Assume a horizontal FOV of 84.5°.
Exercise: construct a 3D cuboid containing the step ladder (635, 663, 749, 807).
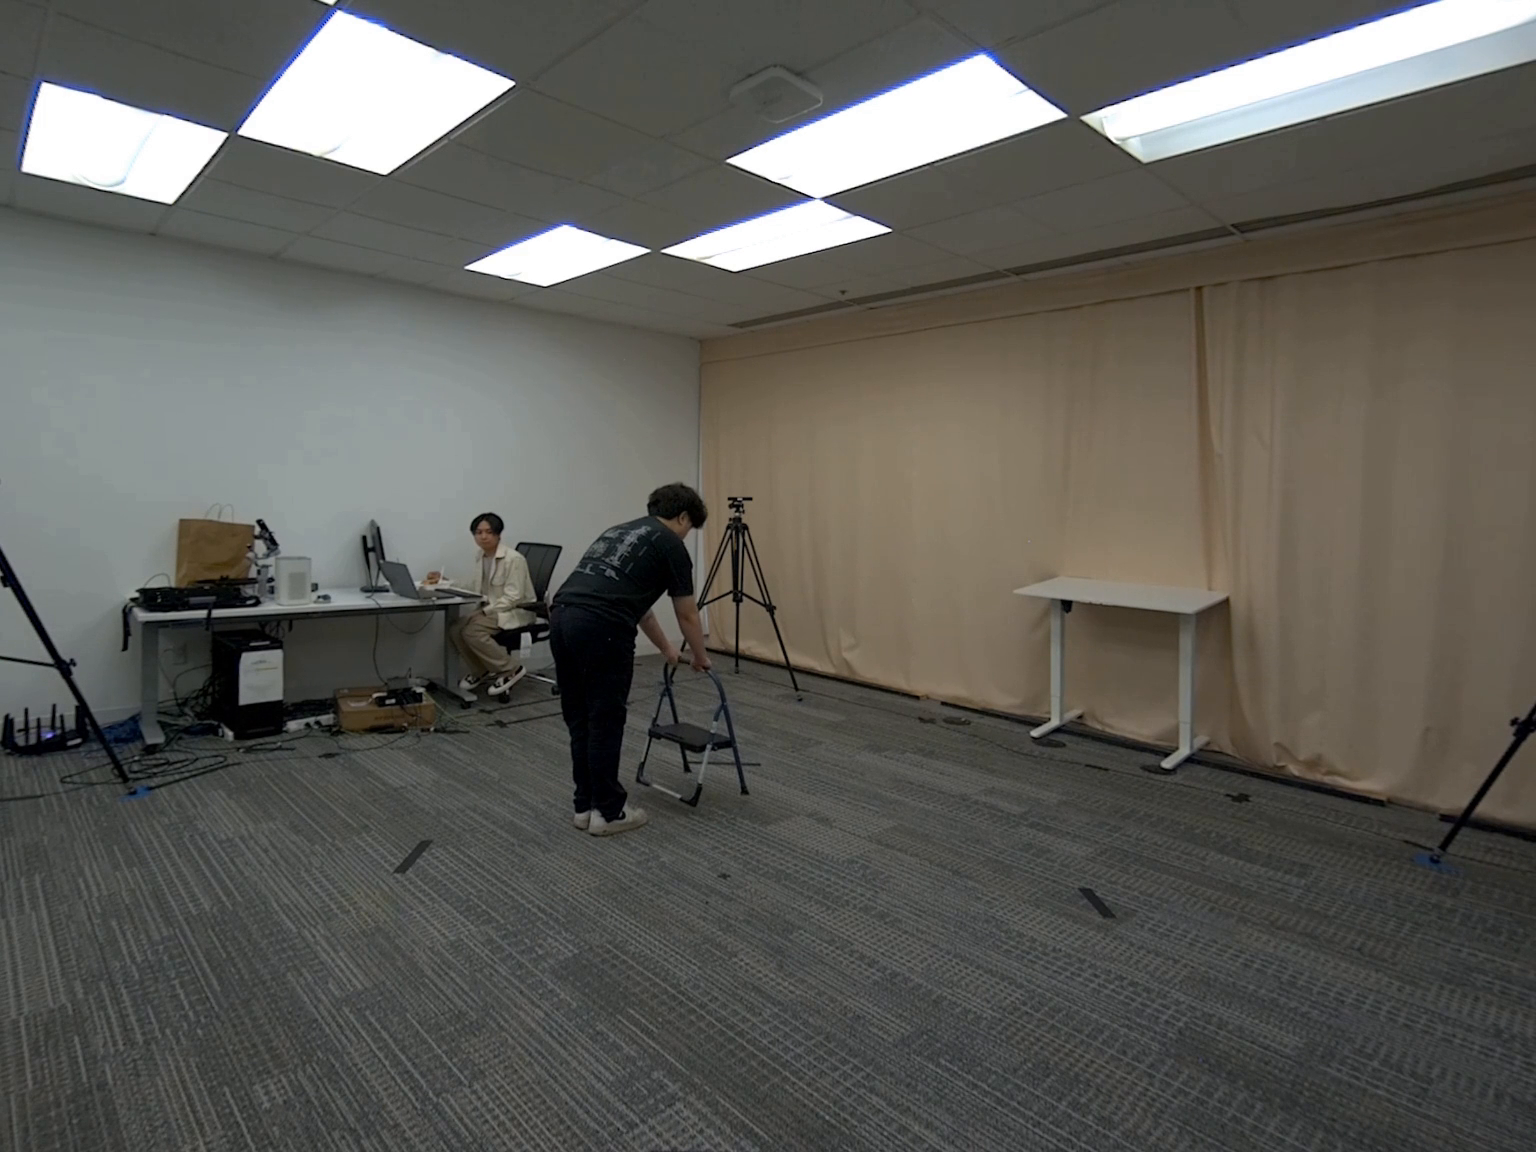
[{"bbox_3d":[-0.346,0.685,3.906,0.441,0.606,0.340,5,1,43],"label":"step ladder"}]
